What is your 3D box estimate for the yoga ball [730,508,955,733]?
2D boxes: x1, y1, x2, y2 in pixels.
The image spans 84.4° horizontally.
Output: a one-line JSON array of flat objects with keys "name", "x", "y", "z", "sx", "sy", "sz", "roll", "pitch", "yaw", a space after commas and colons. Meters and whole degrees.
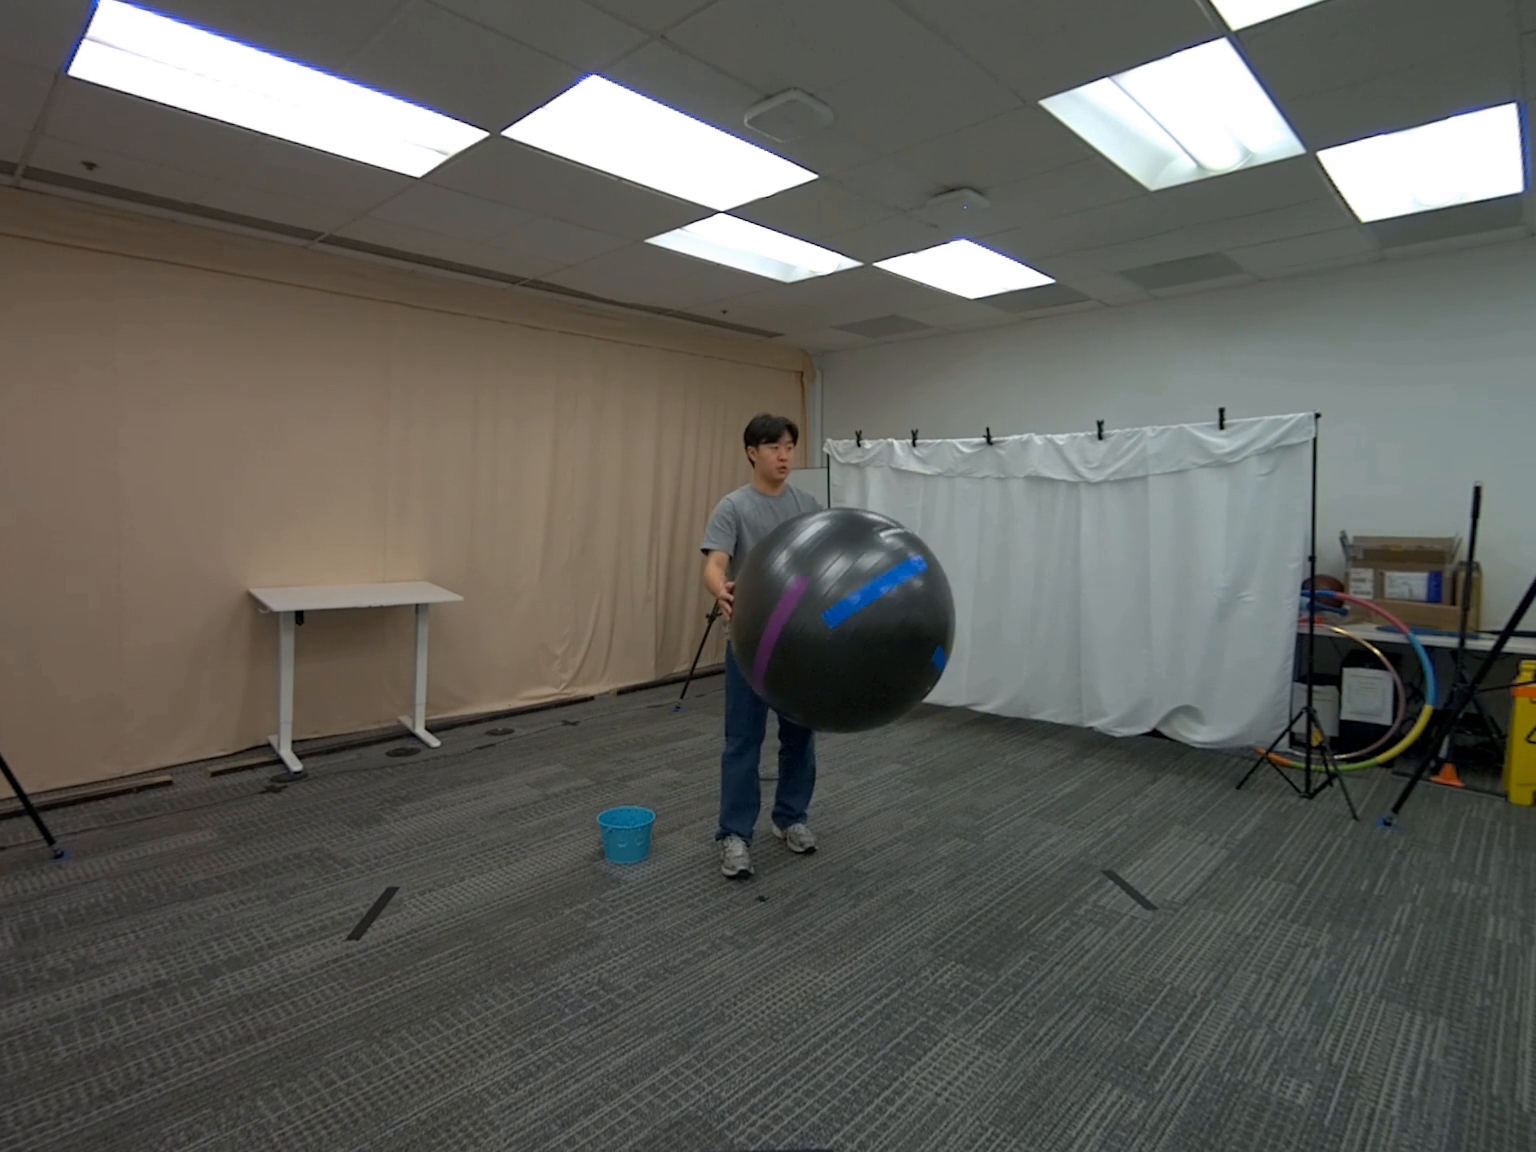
[{"name": "yoga ball", "x": 0.234, "y": 0.148, "z": 2.863, "sx": 0.757, "sy": 0.756, "sz": 0.761, "roll": 0, "pitch": 4, "yaw": -2}]
